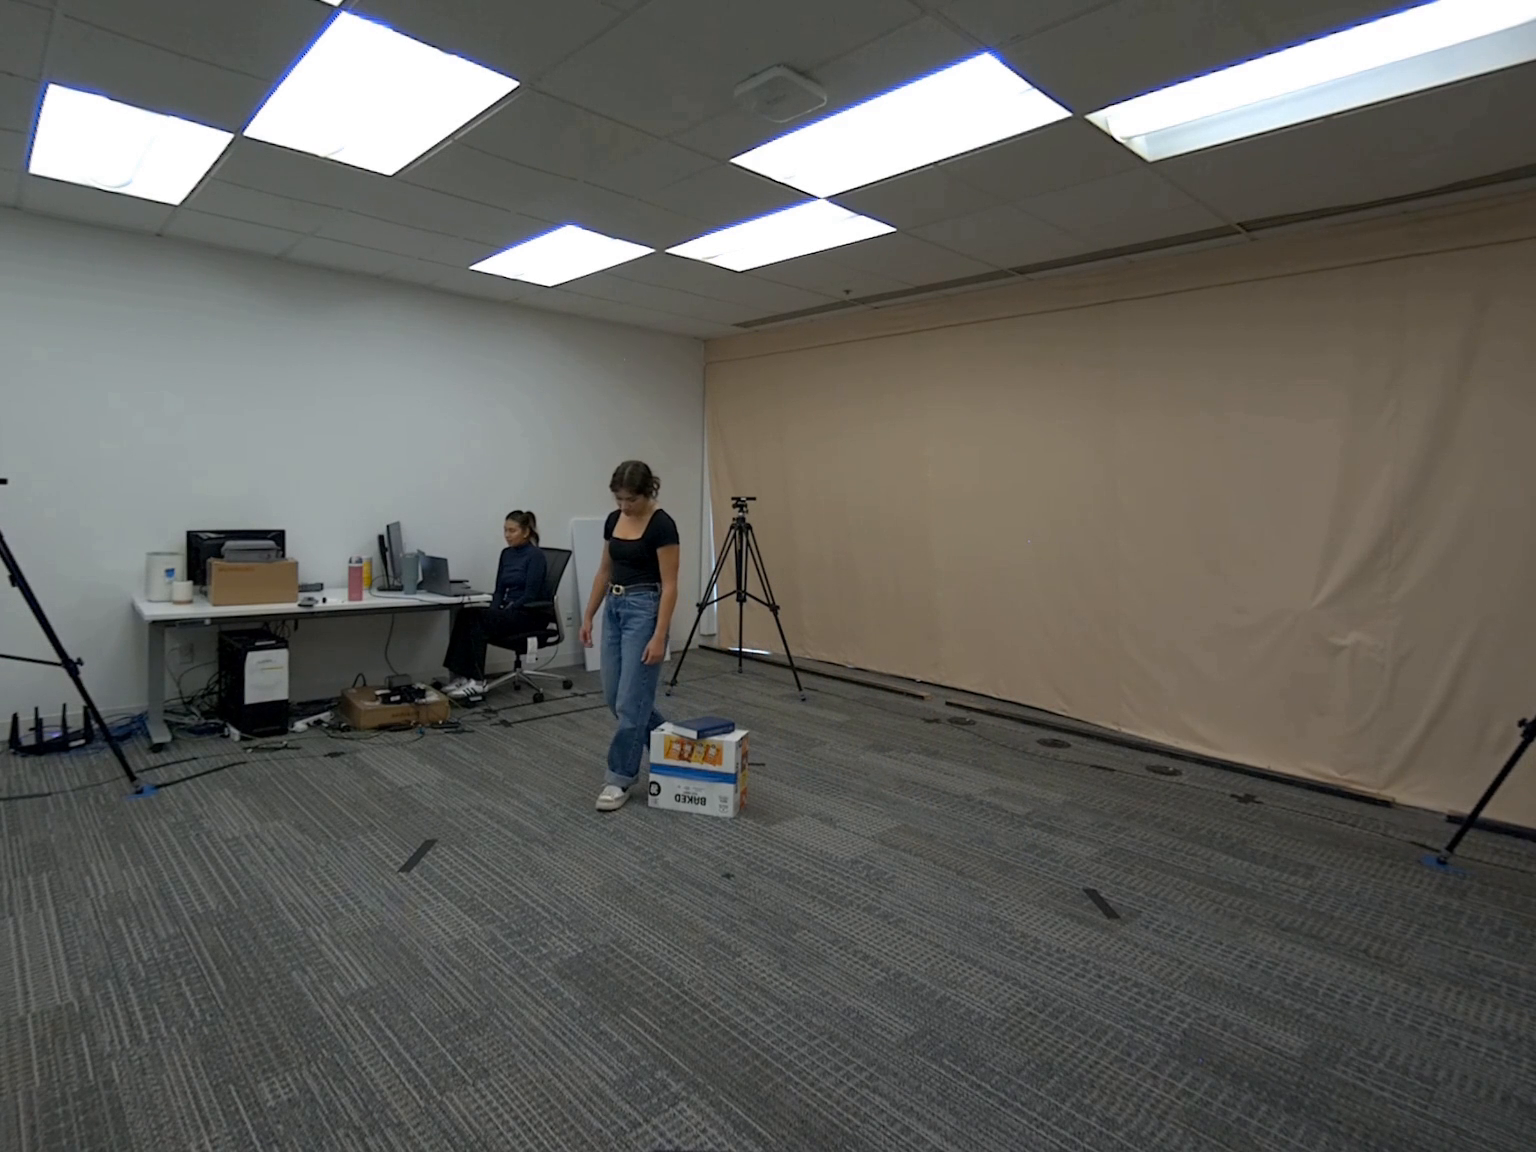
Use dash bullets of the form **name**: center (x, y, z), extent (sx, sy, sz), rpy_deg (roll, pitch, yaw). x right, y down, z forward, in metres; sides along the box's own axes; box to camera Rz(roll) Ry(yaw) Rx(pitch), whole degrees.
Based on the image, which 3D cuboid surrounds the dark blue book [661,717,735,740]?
- **dark blue book**: center (-0.299, 0.681, 3.800), extent (0.167, 0.045, 0.239), rpy_deg (5, 4, 41)
